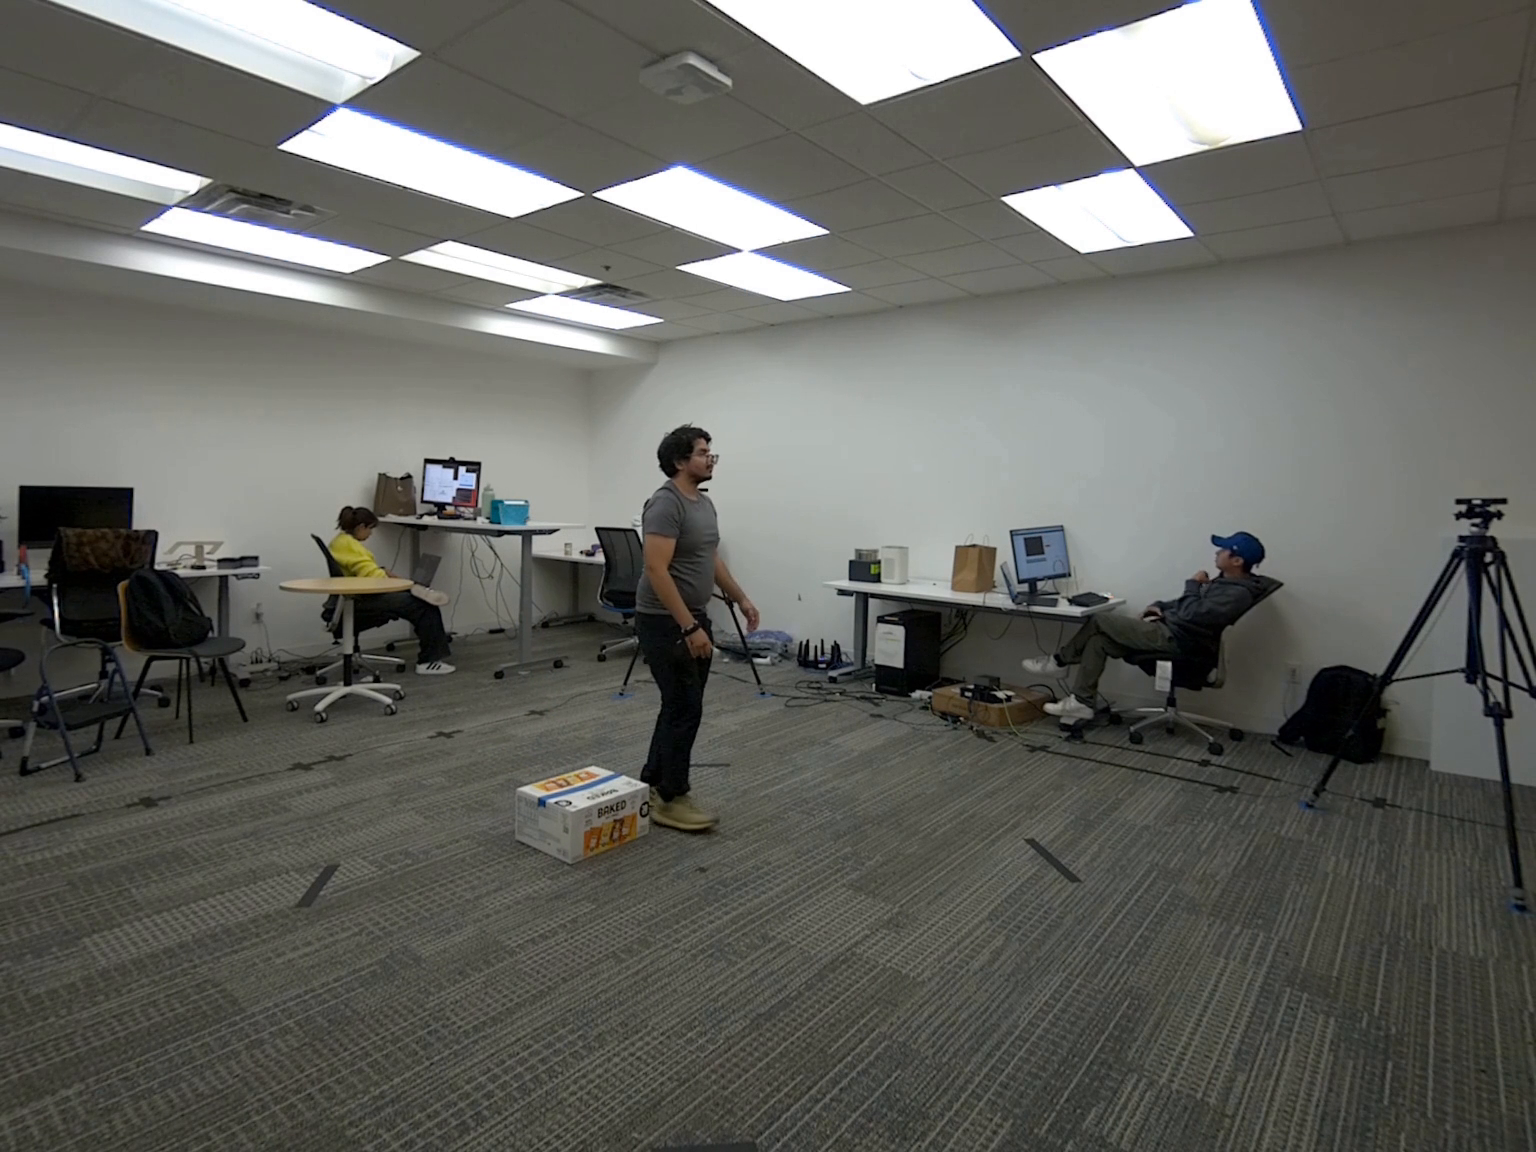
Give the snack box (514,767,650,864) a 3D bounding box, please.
[{"bbox_3d":[-0.745,0.935,3.369,0.352,0.205,0.393,5,6,38],"label":"snack box"}]
